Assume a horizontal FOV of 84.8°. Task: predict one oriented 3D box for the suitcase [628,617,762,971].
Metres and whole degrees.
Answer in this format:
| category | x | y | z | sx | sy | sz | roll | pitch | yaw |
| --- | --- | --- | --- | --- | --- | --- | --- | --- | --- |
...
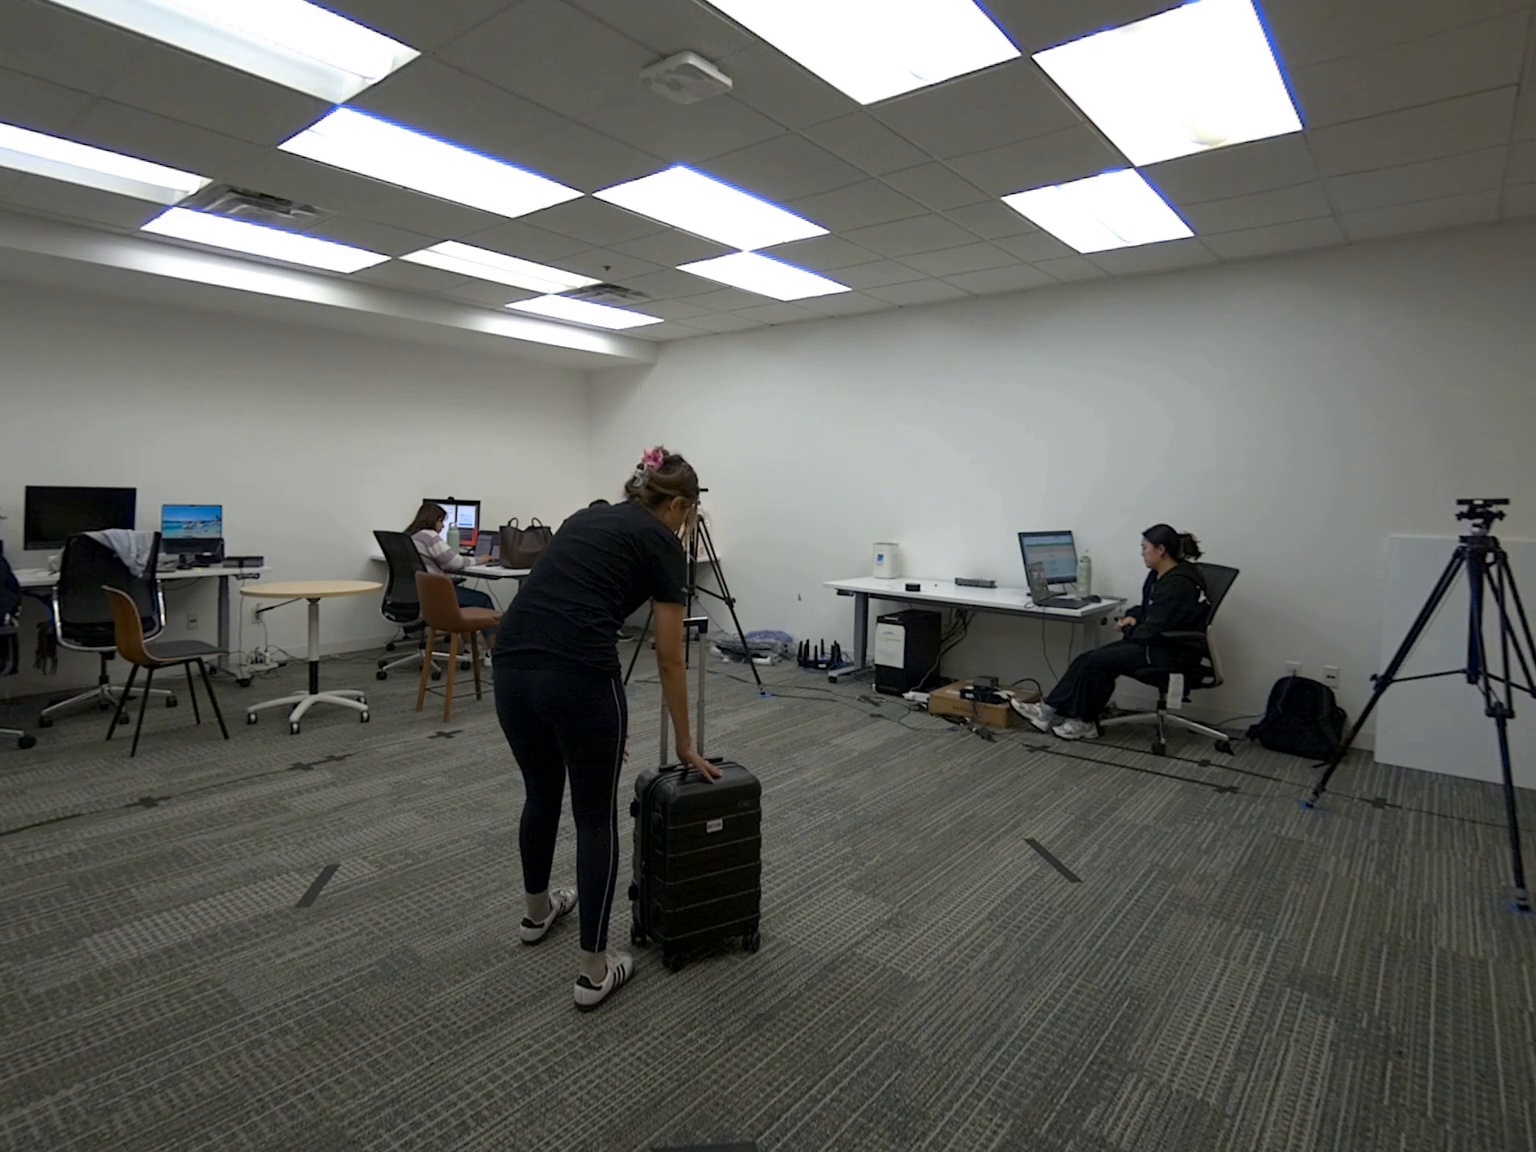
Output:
| category | x | y | z | sx | sy | sz | roll | pitch | yaw |
| --- | --- | --- | --- | --- | --- | --- | --- | --- | --- |
| suitcase | -0.212 | 0.647 | 2.575 | 0.374 | 0.975 | 0.265 | -1 | 4 | -30 |
